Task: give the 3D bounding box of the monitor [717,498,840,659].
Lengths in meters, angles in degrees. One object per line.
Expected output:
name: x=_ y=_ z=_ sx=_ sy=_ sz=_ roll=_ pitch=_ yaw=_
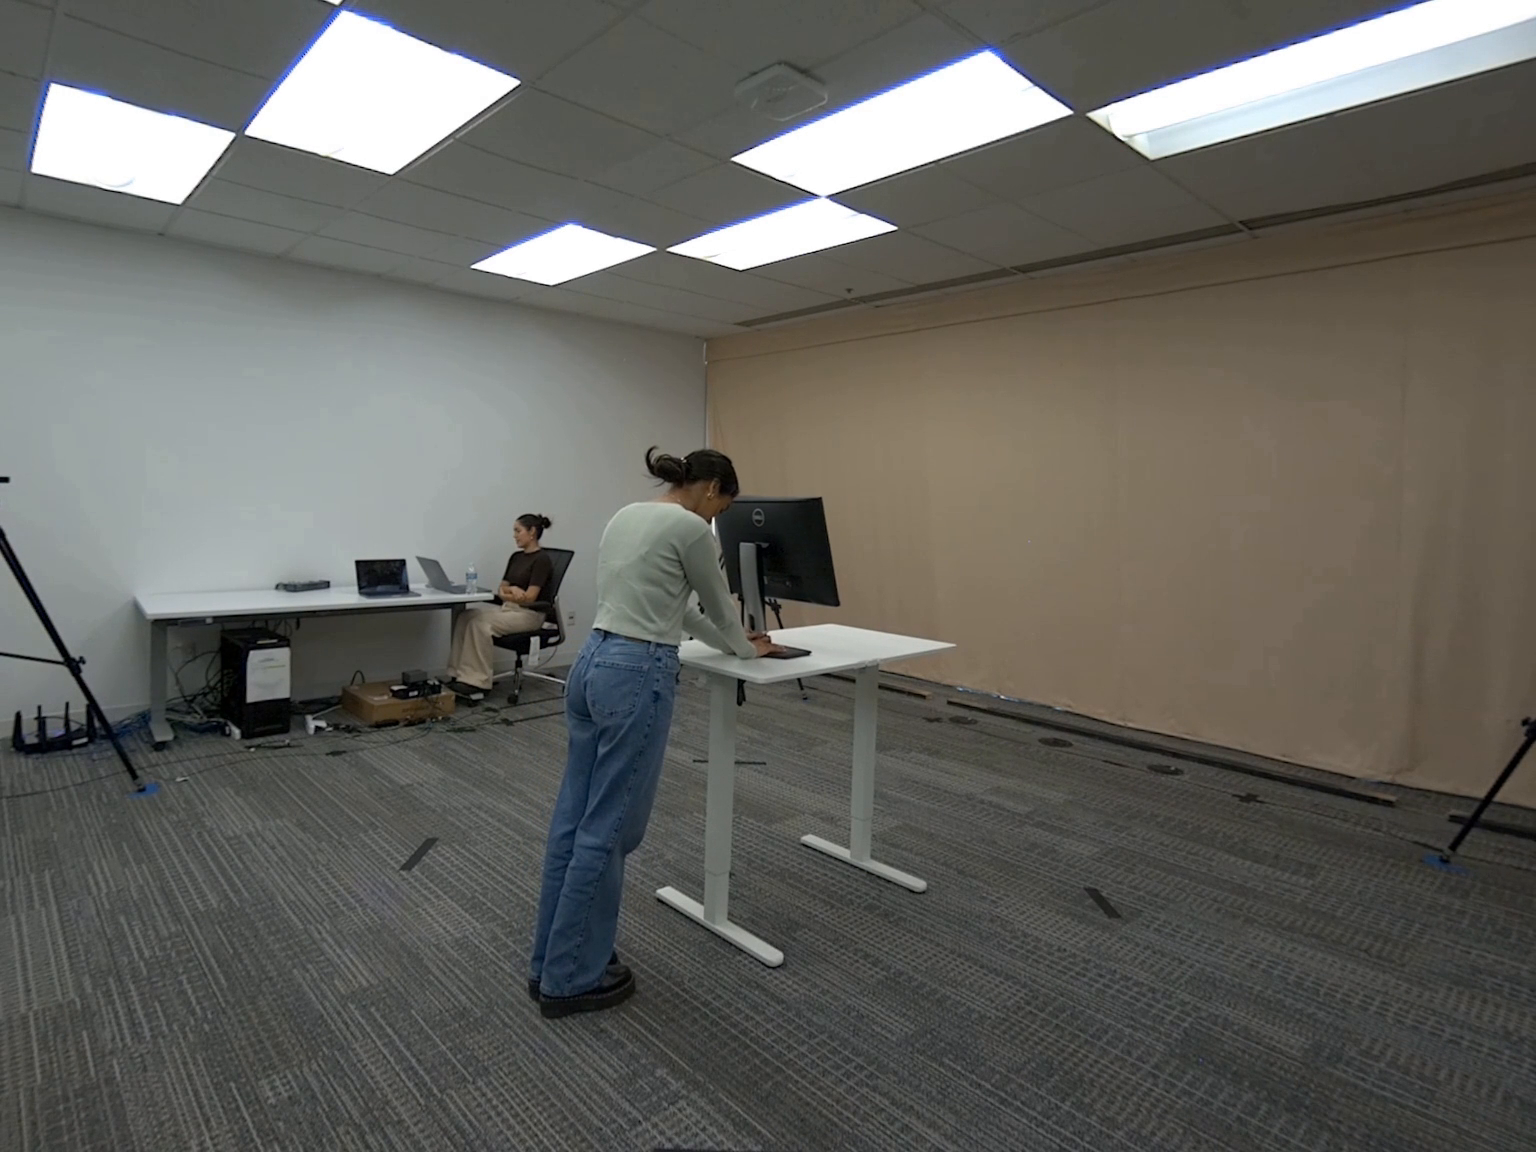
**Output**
monitor: x=-0.008 y=-0.002 z=2.778 sx=0.183 sy=0.521 sz=0.553 roll=-1 pitch=4 yaw=-40
